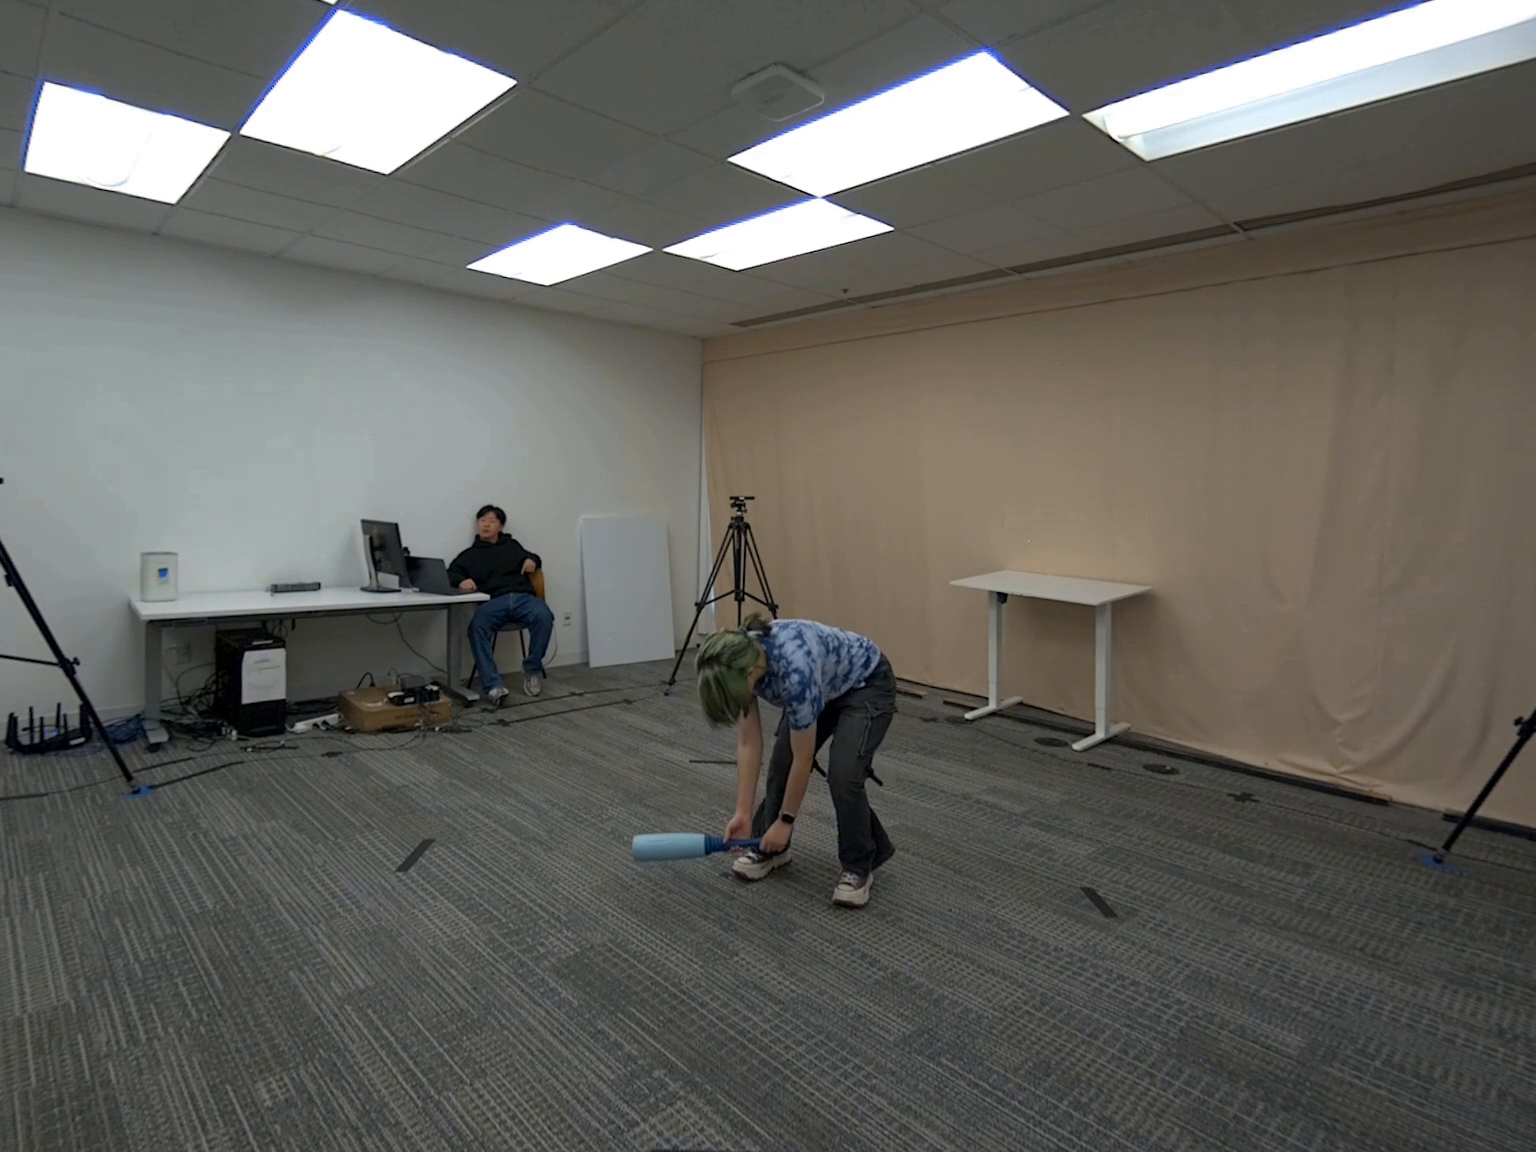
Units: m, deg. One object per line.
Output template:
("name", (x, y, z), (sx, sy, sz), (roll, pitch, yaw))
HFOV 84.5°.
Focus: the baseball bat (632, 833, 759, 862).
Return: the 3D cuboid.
("baseball bat", (-0.204, 0.917, 2.885), (0.543, 0.089, 0.089), (-1, 4, 1))
